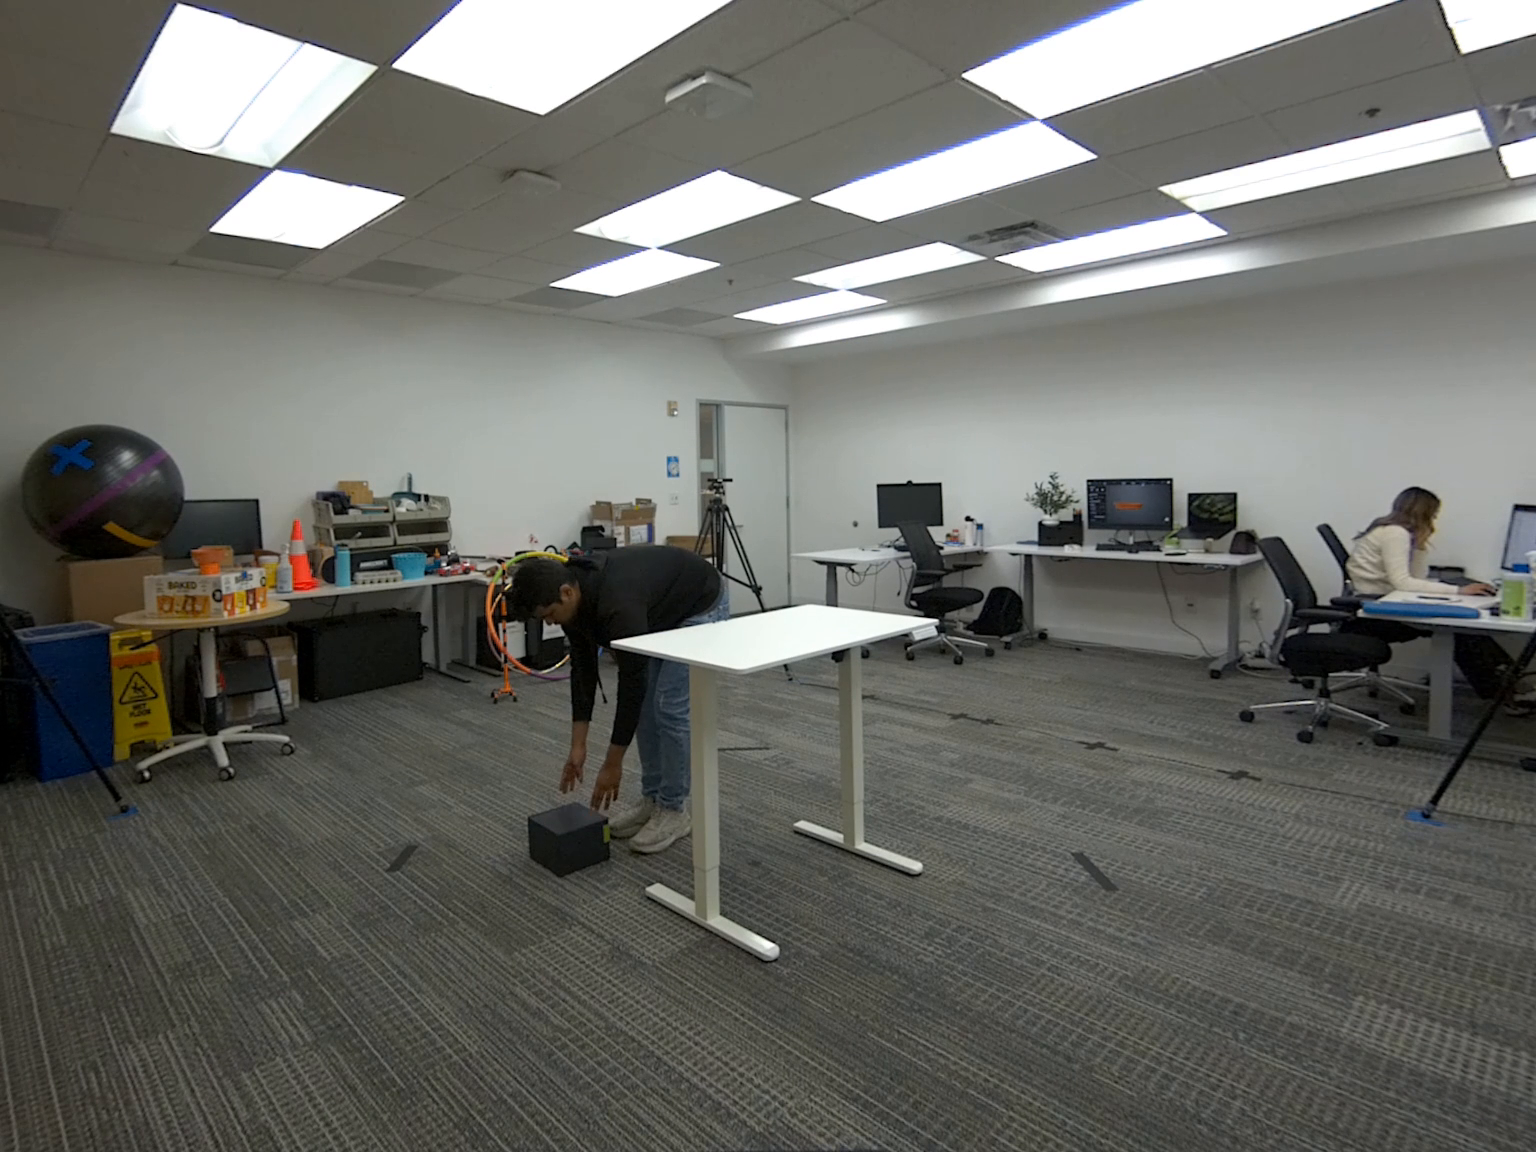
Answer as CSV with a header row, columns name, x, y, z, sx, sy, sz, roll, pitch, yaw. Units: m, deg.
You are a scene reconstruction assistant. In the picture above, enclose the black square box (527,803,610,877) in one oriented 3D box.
name,x,y,z,sx,sy,sz,roll,pitch,yaw
black square box,-0.730,0.962,3.165,0.211,0.155,0.235,-6,8,-42
